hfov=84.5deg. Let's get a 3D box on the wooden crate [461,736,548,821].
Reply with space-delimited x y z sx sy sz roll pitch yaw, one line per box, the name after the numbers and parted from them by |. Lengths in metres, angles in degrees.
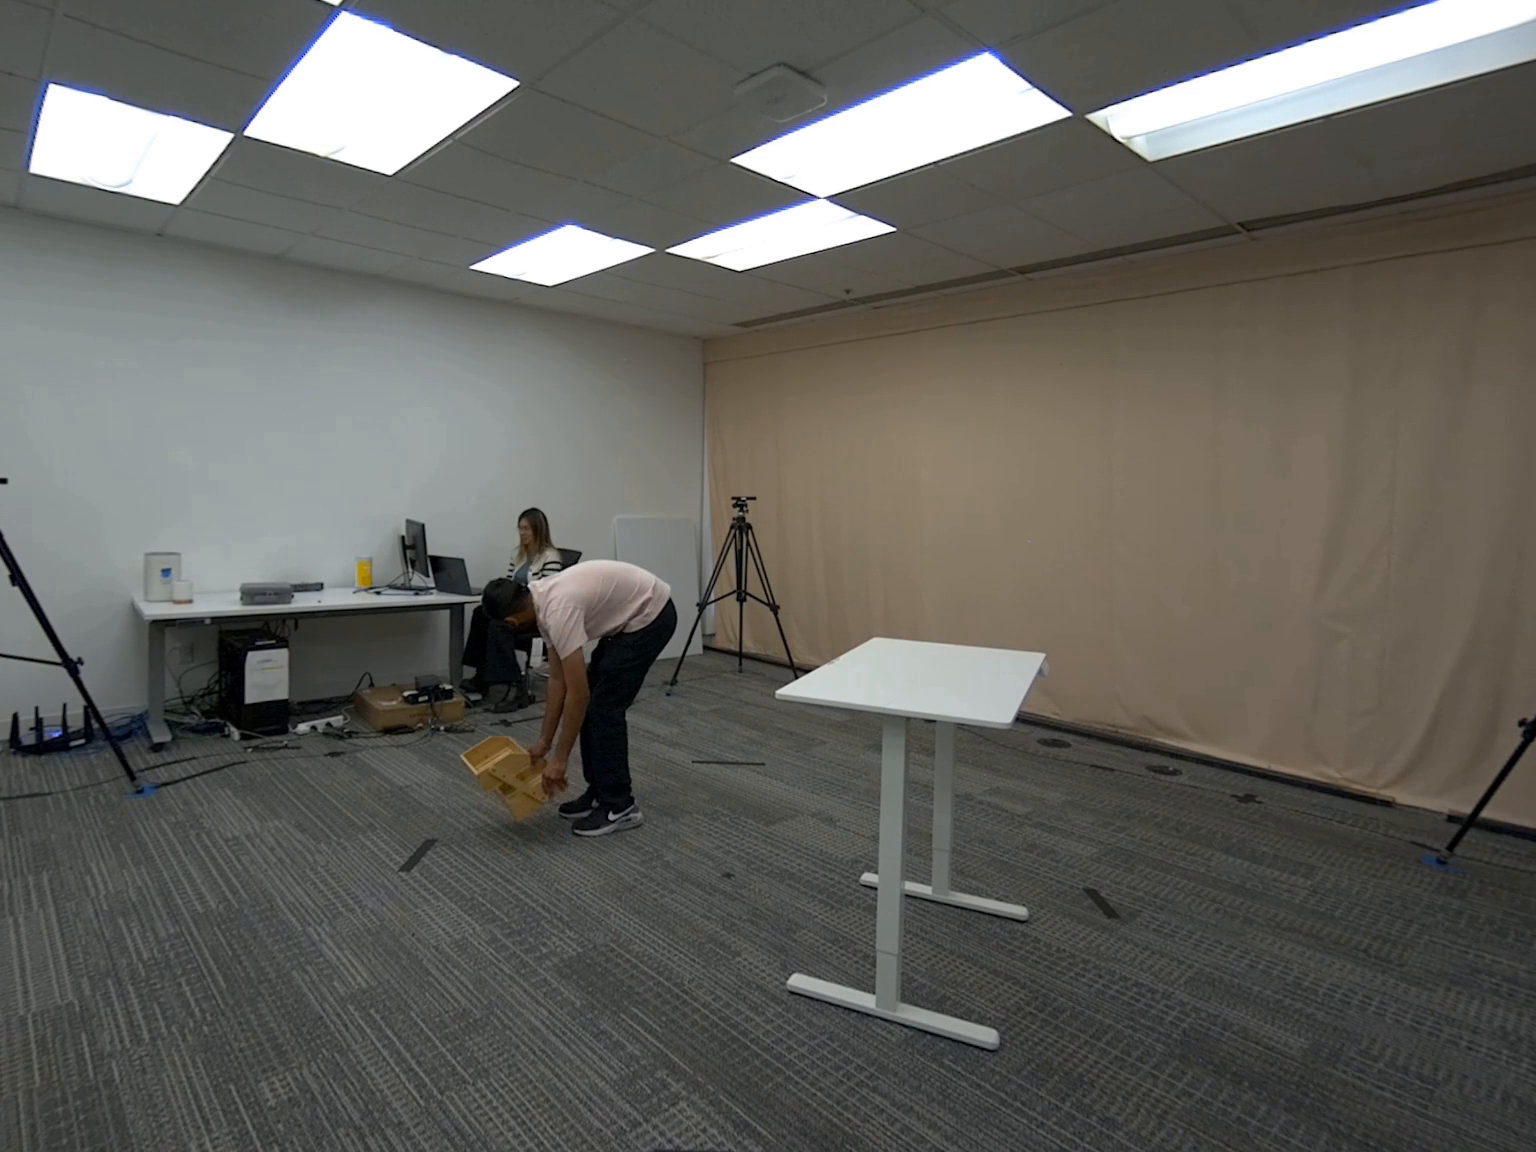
-1.049 0.786 3.430 0.299 0.269 0.332 -30 18 -27 | wooden crate
